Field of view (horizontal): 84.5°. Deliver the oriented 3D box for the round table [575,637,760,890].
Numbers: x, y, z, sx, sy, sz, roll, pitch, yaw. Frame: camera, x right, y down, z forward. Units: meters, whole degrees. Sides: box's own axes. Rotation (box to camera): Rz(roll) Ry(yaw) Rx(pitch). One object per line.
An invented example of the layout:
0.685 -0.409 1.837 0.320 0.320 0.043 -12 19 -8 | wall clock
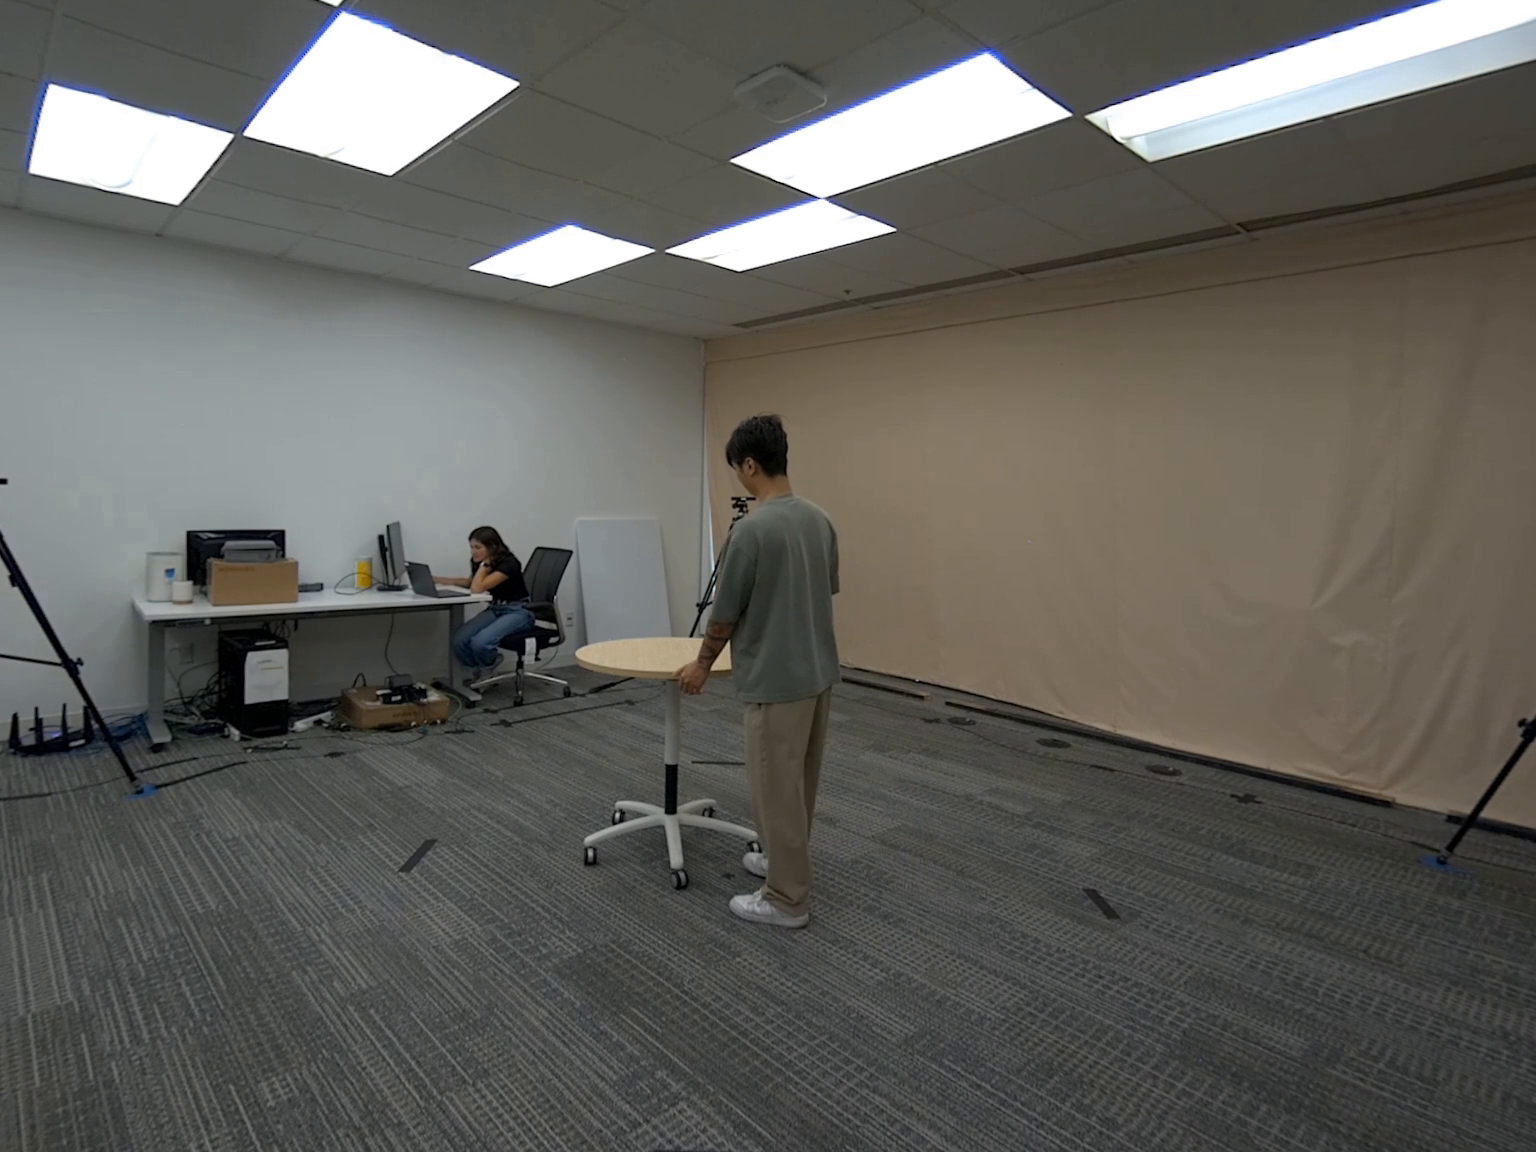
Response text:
-0.376 0.686 3.336 0.784 0.785 0.787 1 4 -1 | round table
